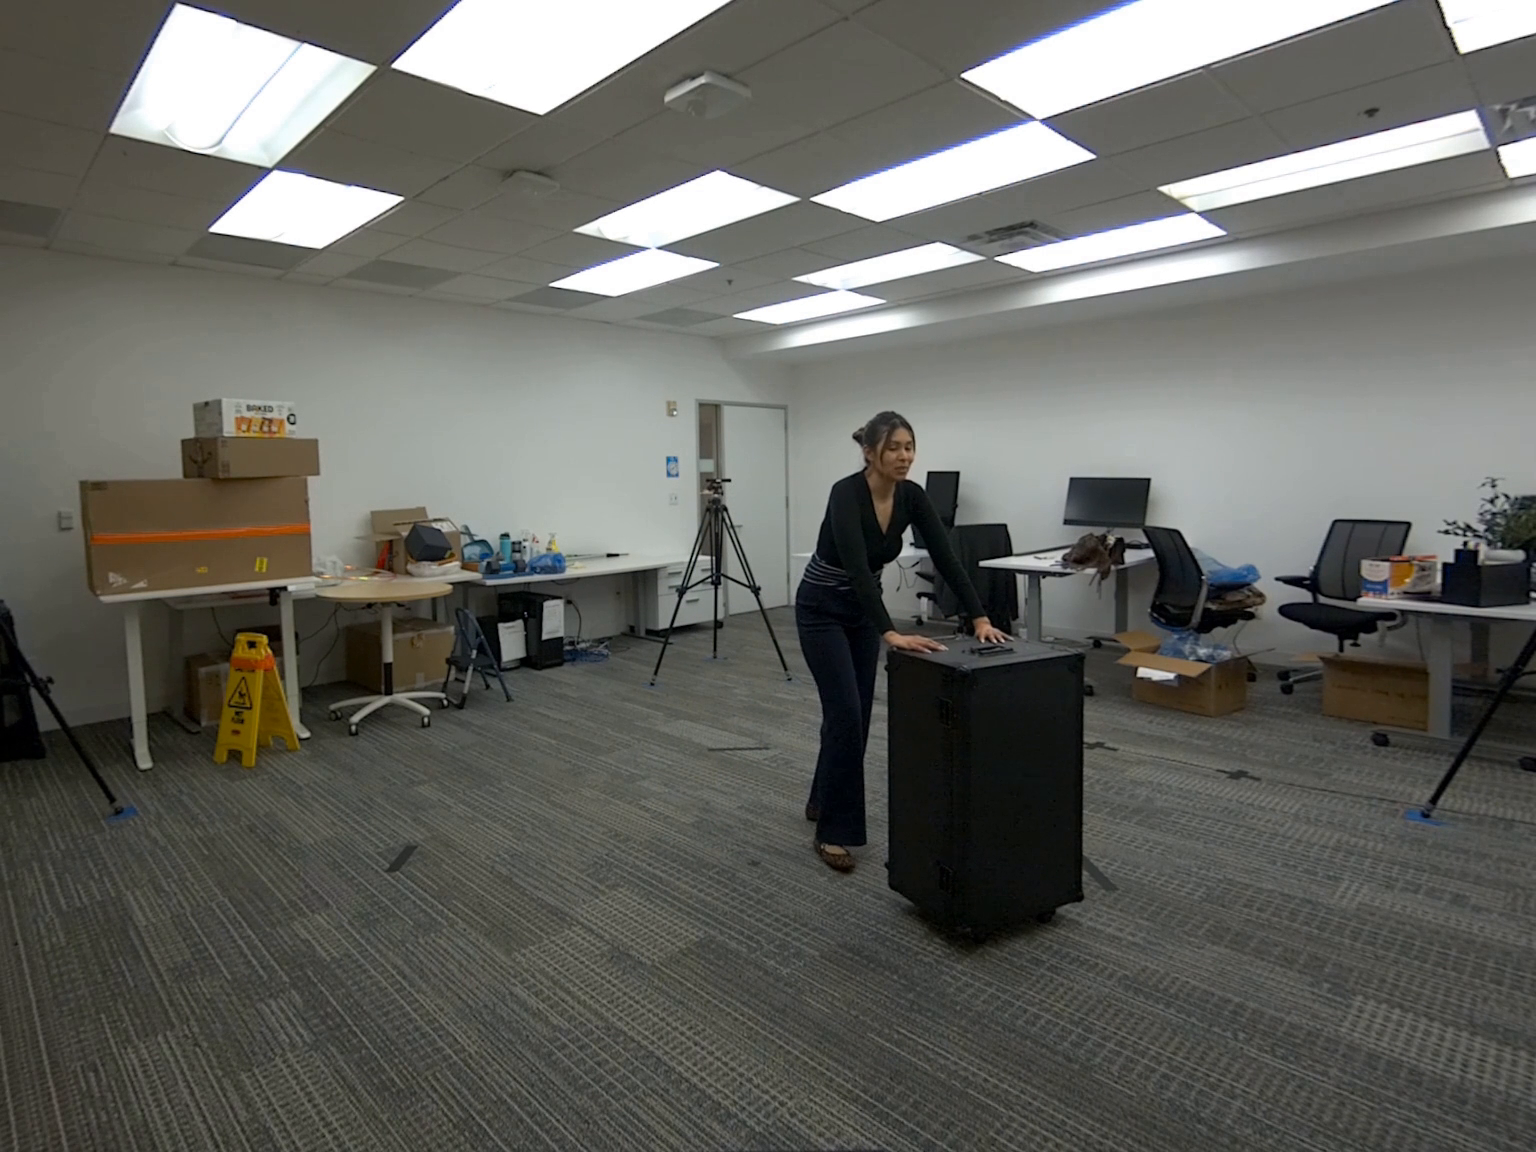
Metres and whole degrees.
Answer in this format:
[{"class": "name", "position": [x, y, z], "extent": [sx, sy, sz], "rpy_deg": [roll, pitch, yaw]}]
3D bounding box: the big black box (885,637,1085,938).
[{"class": "big black box", "position": [0.675, 0.652, 2.690], "extent": [0.510, 0.859, 0.406], "rpy_deg": [-3, 4, -27]}]
